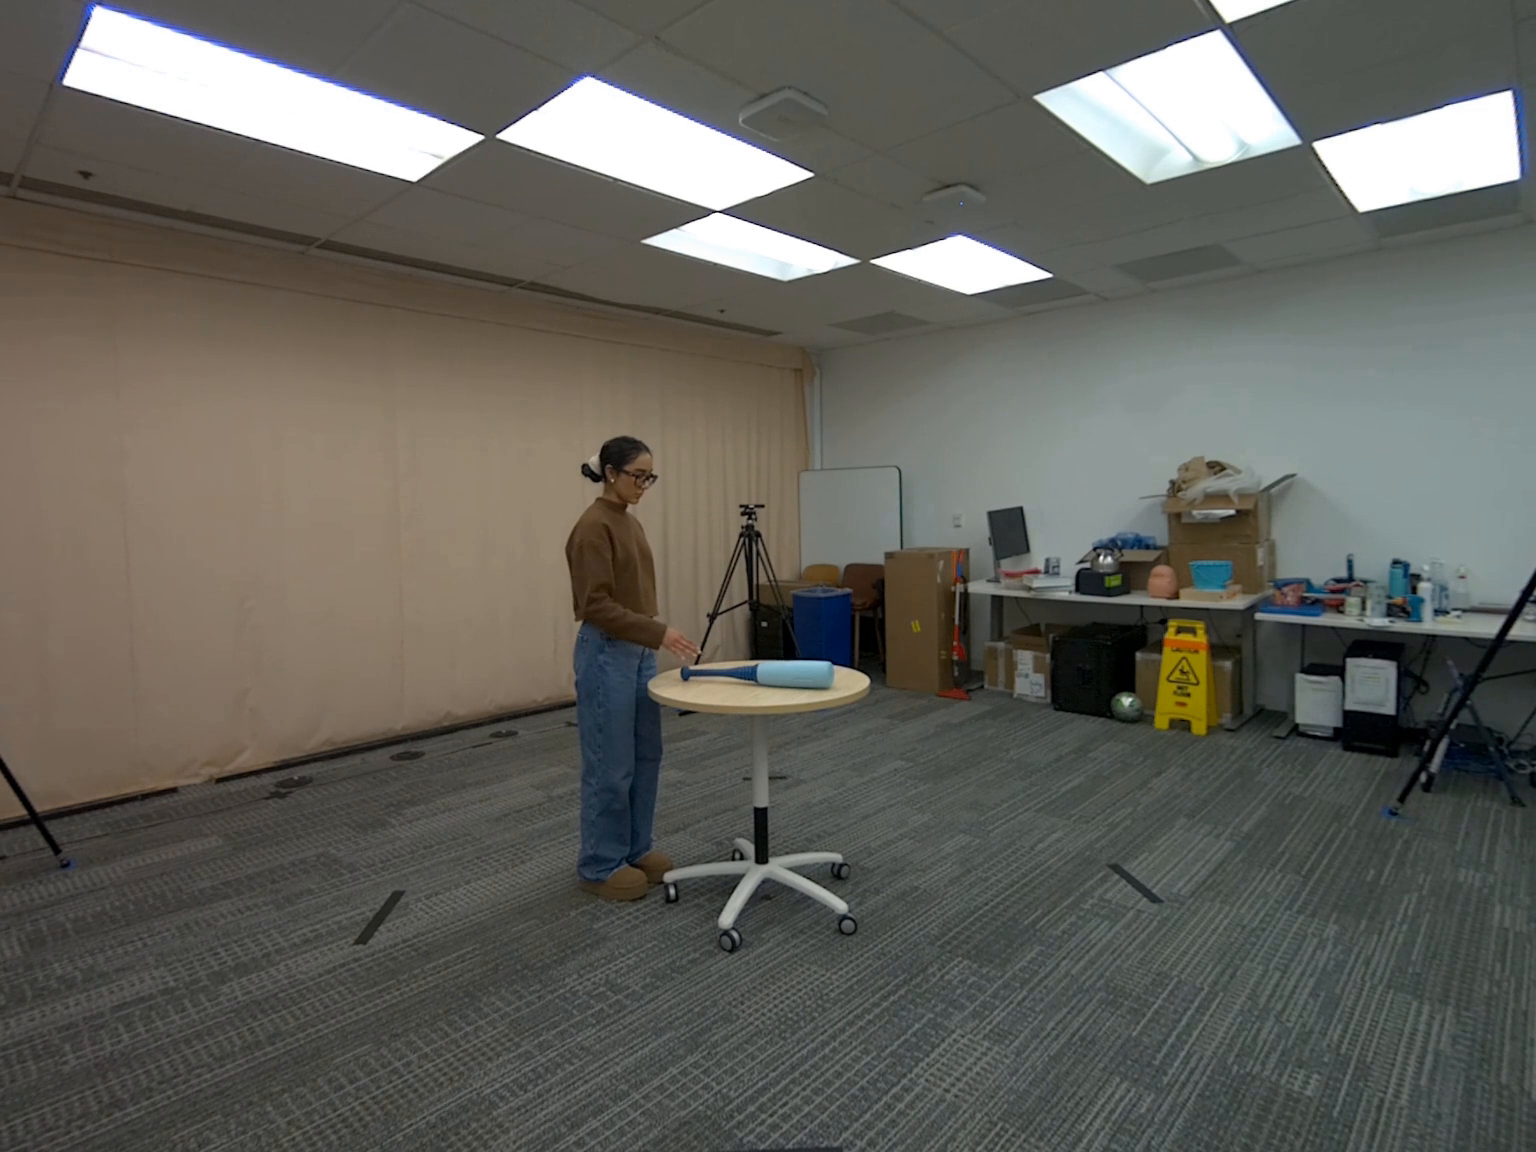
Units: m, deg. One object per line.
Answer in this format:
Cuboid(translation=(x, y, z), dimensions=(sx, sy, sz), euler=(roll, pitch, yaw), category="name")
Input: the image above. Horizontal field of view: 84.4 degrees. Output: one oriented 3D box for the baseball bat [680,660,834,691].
Cuboid(translation=(-0.041, 0.337, 2.845), dimensions=(0.555, 0.089, 0.087), euler=(-3, 3, 21), category="baseball bat")
